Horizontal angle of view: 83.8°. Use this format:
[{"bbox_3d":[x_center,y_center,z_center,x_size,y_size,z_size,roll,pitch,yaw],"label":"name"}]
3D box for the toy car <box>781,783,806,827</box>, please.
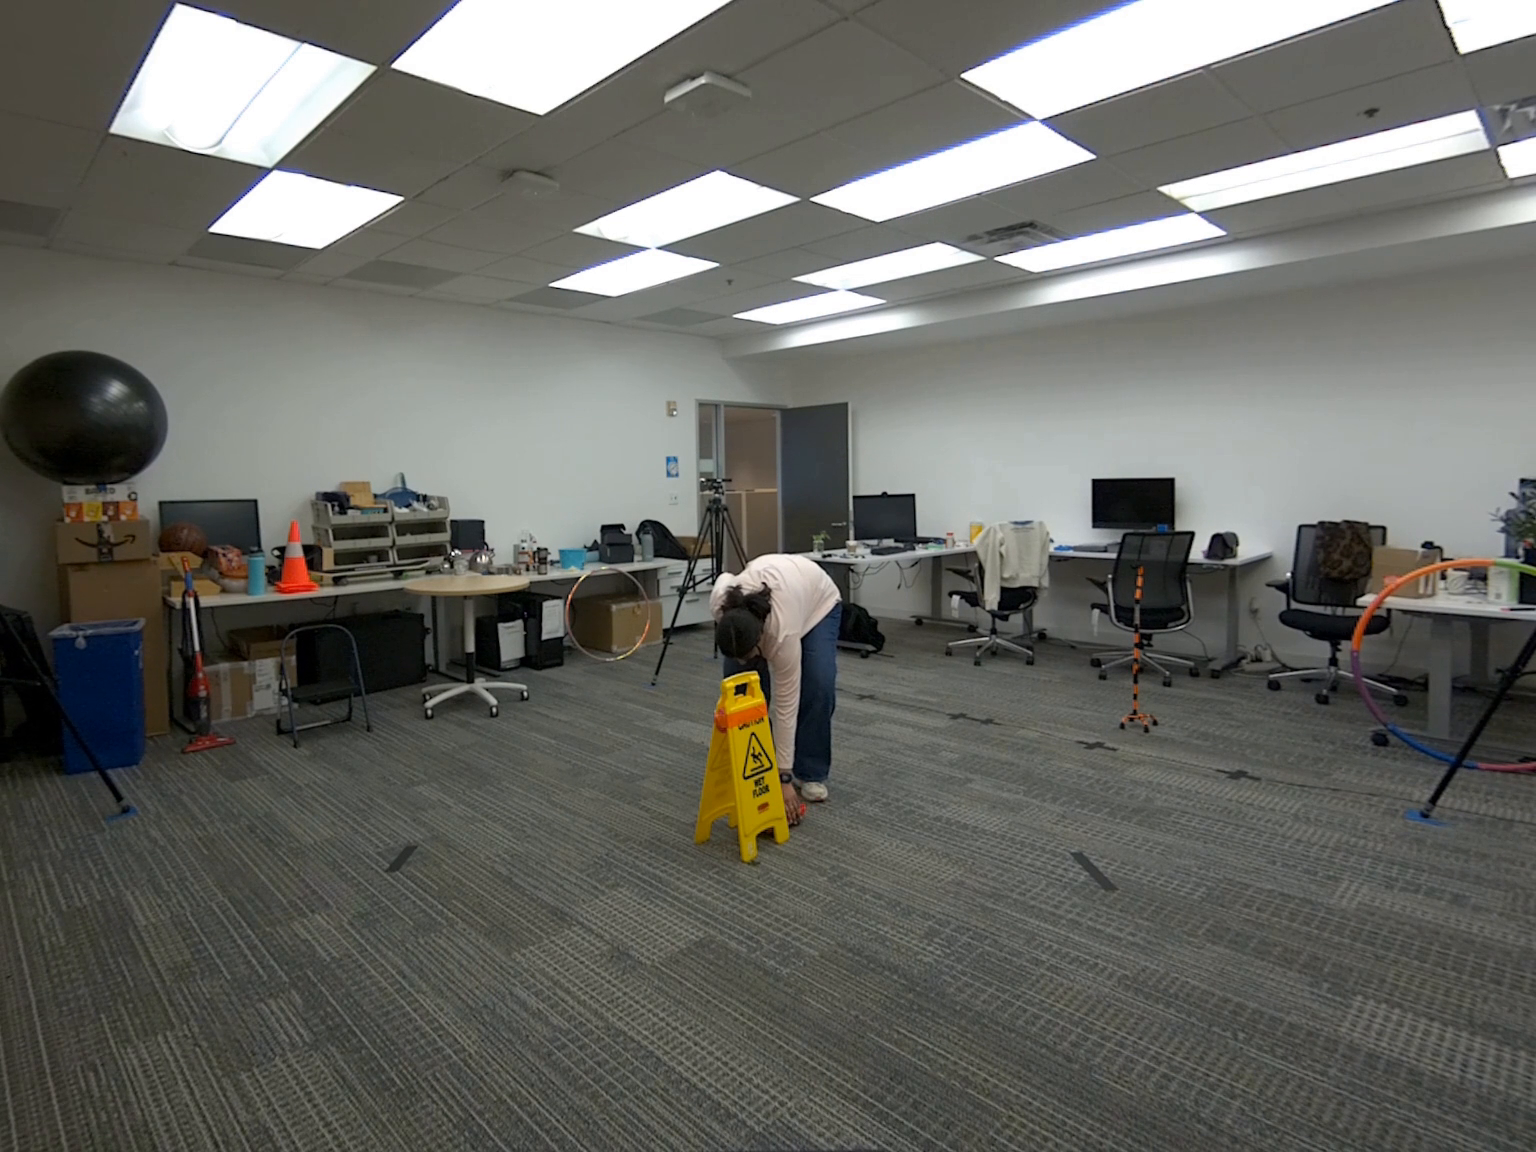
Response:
[{"bbox_3d":[0.050,0.975,3.444,0.134,0.082,0.251,4,23,41],"label":"toy car"}]
